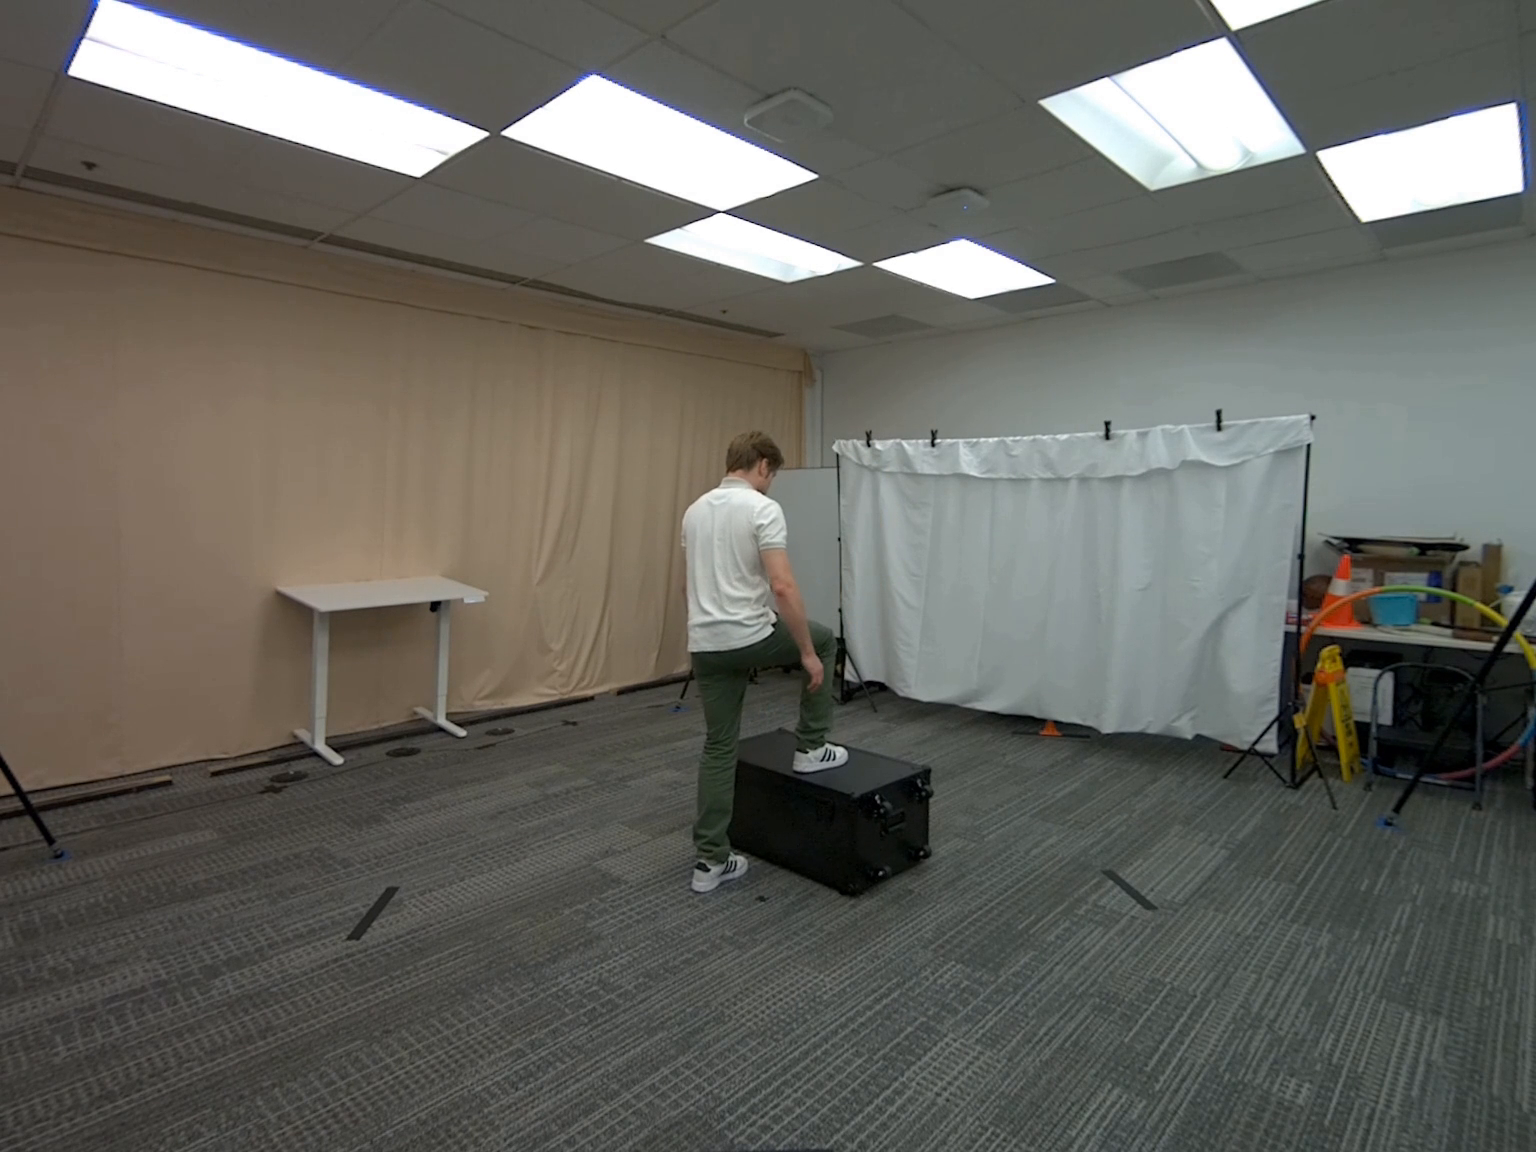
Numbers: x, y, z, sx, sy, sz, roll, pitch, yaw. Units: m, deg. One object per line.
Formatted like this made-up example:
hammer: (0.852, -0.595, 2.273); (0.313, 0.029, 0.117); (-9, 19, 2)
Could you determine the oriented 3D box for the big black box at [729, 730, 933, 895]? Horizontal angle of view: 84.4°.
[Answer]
big black box: (0.209, 0.921, 3.376); (0.890, 0.395, 0.505); (3, 5, 44)
